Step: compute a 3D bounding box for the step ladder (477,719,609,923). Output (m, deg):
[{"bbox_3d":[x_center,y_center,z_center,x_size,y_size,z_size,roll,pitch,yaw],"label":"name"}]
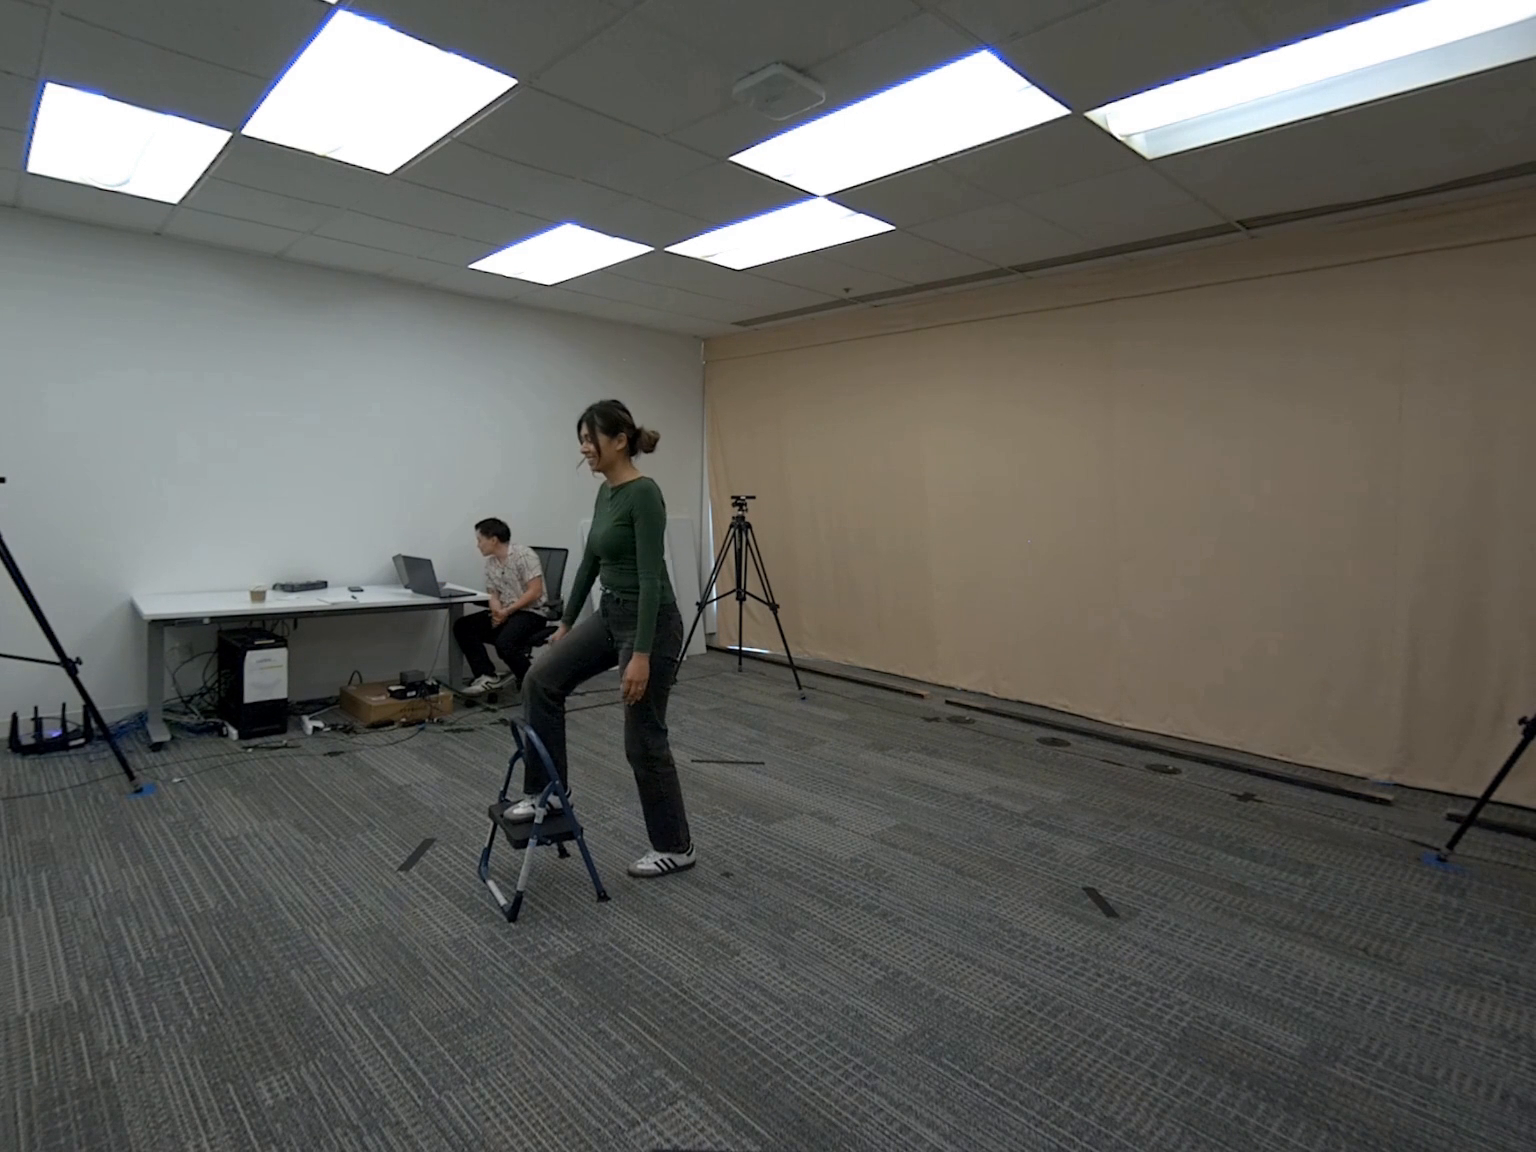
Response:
[{"bbox_3d":[-0.801,0.801,2.960,0.342,0.605,0.441,-1,4,-33],"label":"step ladder"}]
